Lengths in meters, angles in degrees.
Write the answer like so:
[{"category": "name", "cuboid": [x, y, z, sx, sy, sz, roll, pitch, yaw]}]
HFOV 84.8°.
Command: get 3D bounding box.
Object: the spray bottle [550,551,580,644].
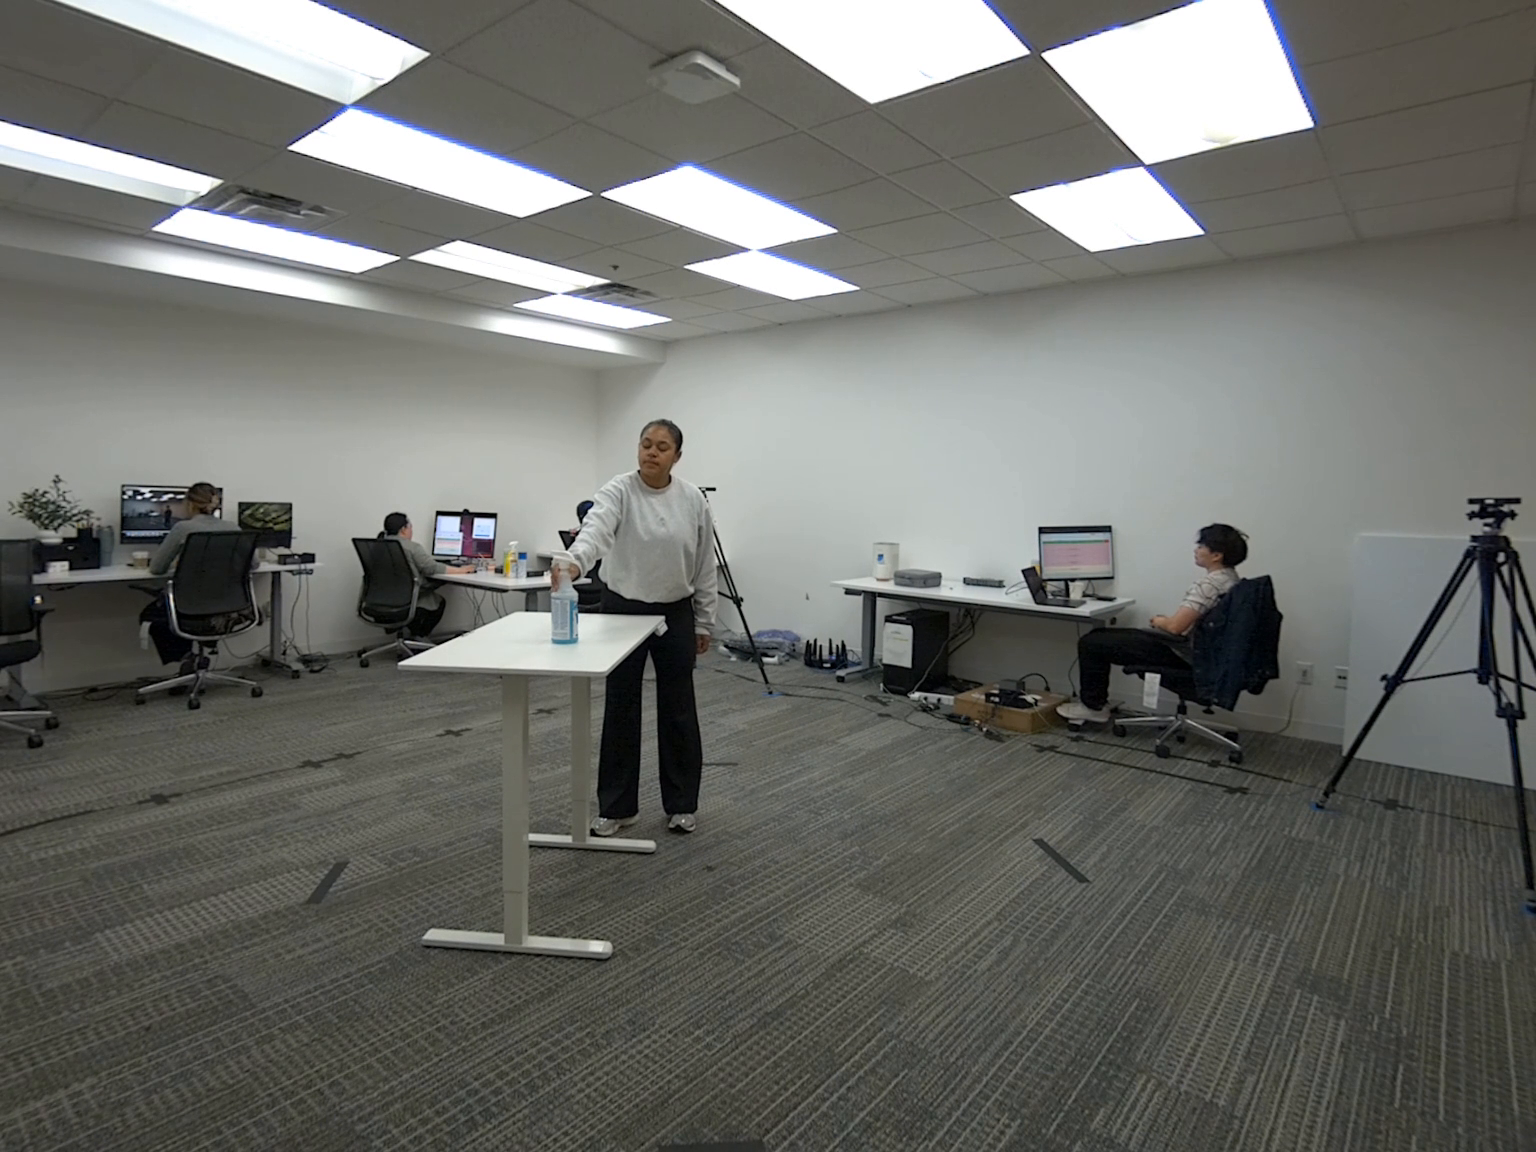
[{"category": "spray bottle", "cuboid": [-0.679, 0.065, 2.753, 0.084, 0.296, 0.093, -3, 5, -43]}]
